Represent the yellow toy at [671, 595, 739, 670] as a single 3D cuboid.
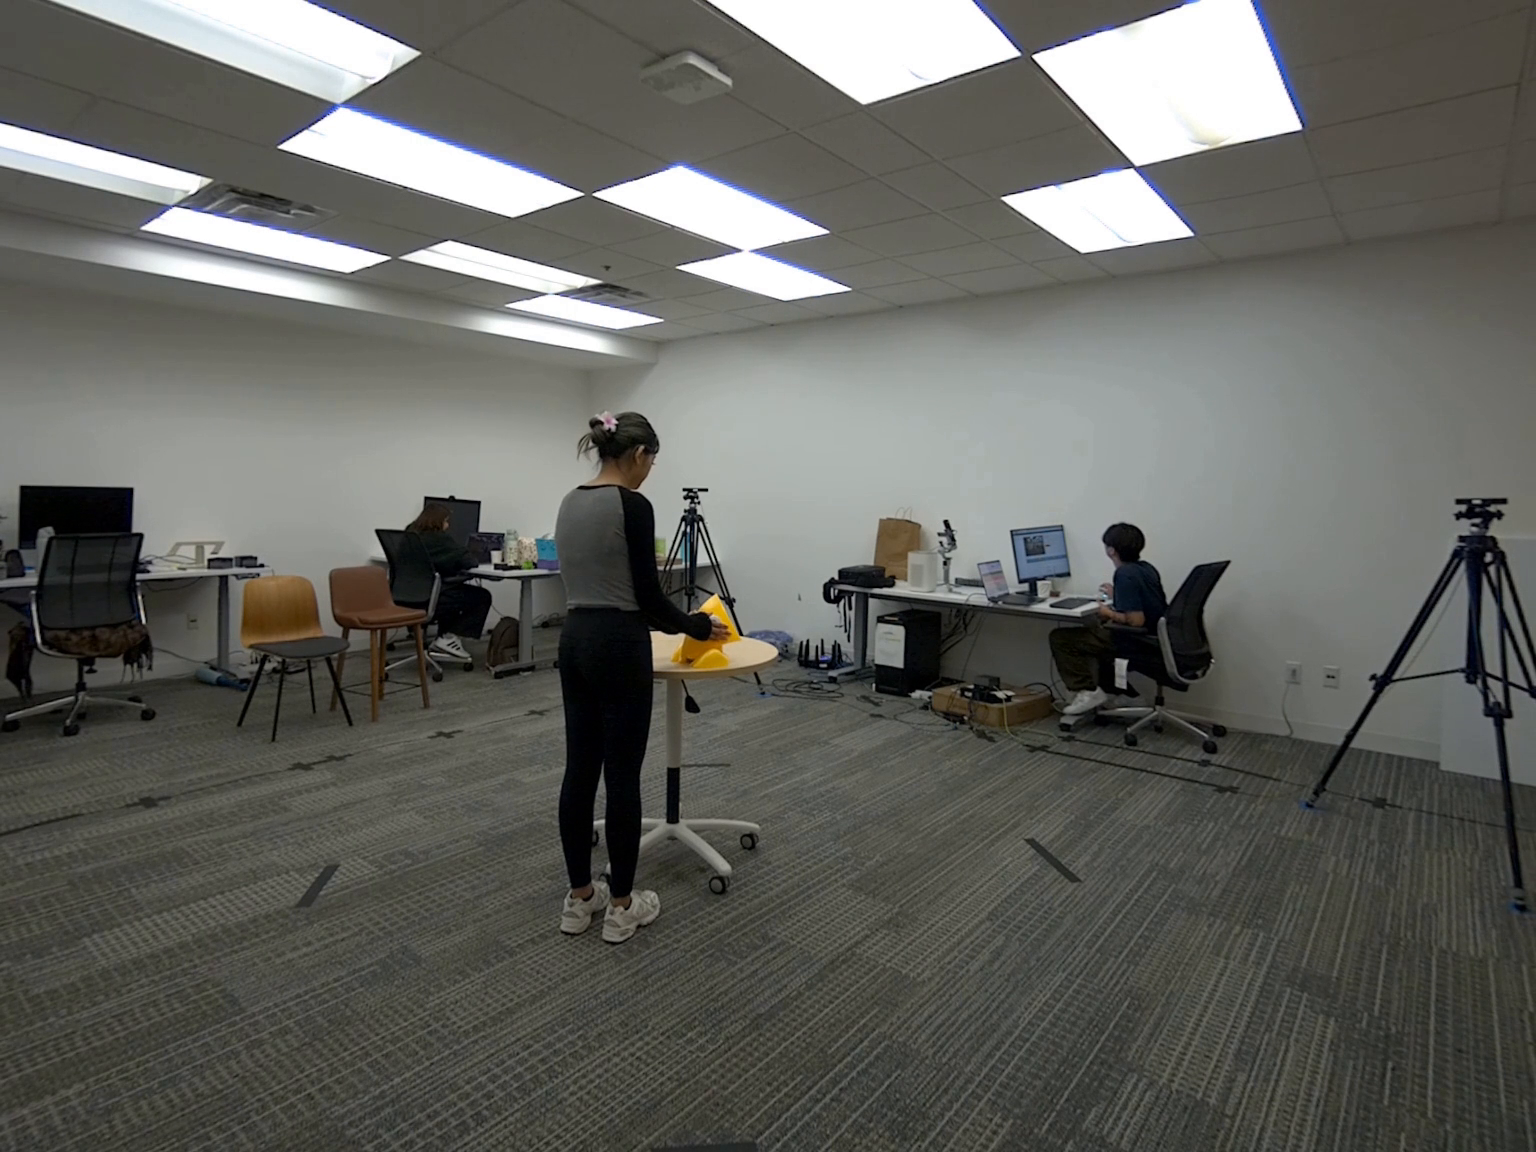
[{"bbox_3d":[-0.242,0.182,2.937,0.187,0.229,0.212,-5,7,-43],"label":"yellow toy"}]
